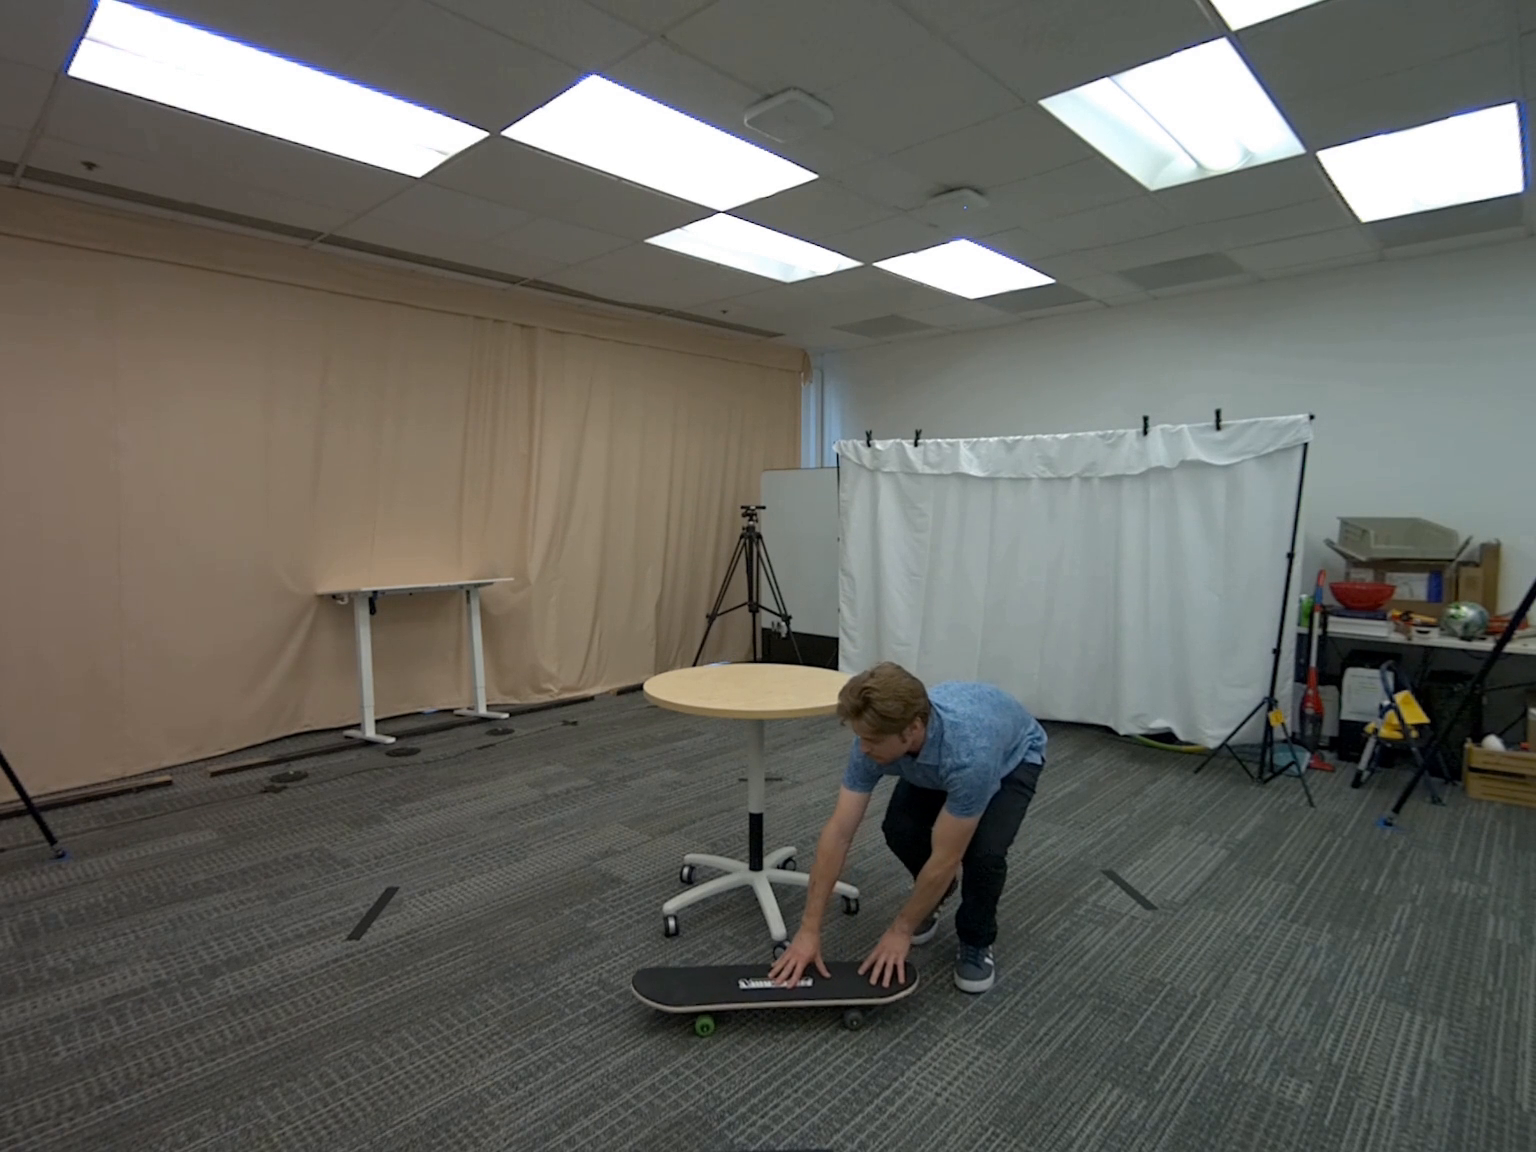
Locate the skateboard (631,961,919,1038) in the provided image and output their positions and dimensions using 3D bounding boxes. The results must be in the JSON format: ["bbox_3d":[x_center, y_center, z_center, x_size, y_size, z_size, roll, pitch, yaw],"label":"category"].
[{"bbox_3d":[0.023,1.156,2.294,0.783,0.110,0.194,-1,4,-3],"label":"skateboard"}]
